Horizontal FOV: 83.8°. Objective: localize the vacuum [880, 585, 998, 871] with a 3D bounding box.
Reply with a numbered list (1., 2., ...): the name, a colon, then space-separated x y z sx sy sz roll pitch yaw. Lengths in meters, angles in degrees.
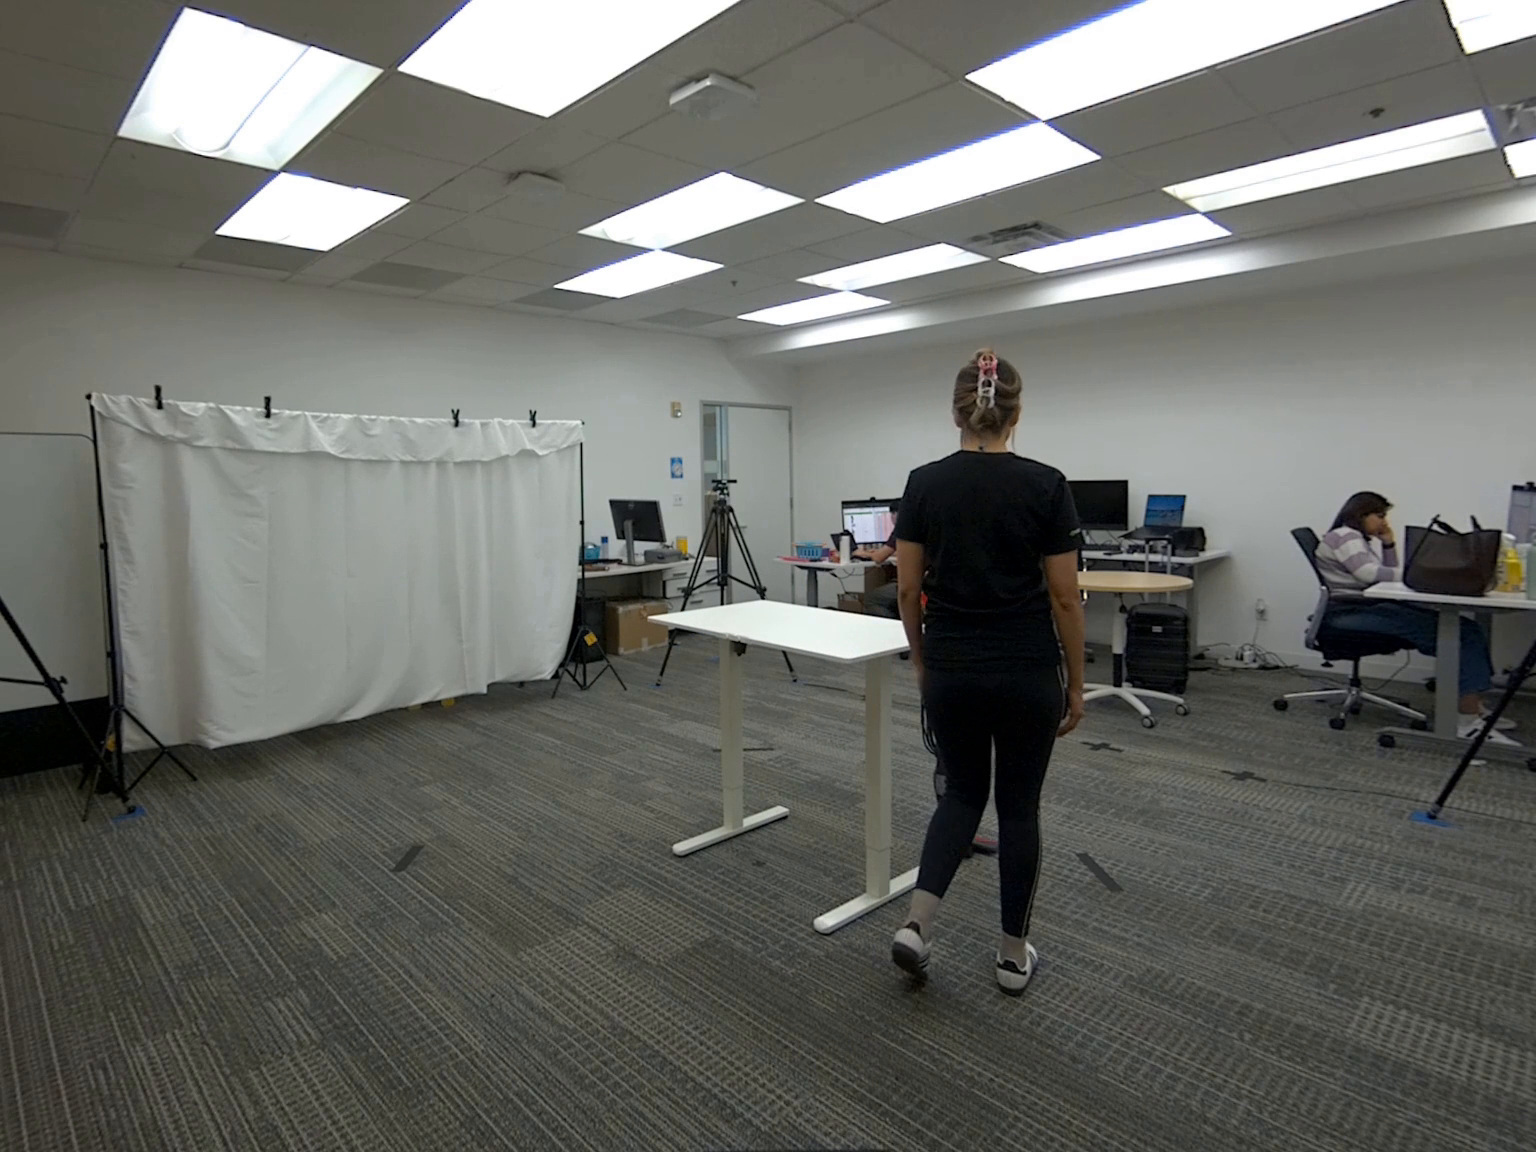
1. vacuum: 0.632 0.544 3.054 0.260 1.030 0.142 1 22 38
